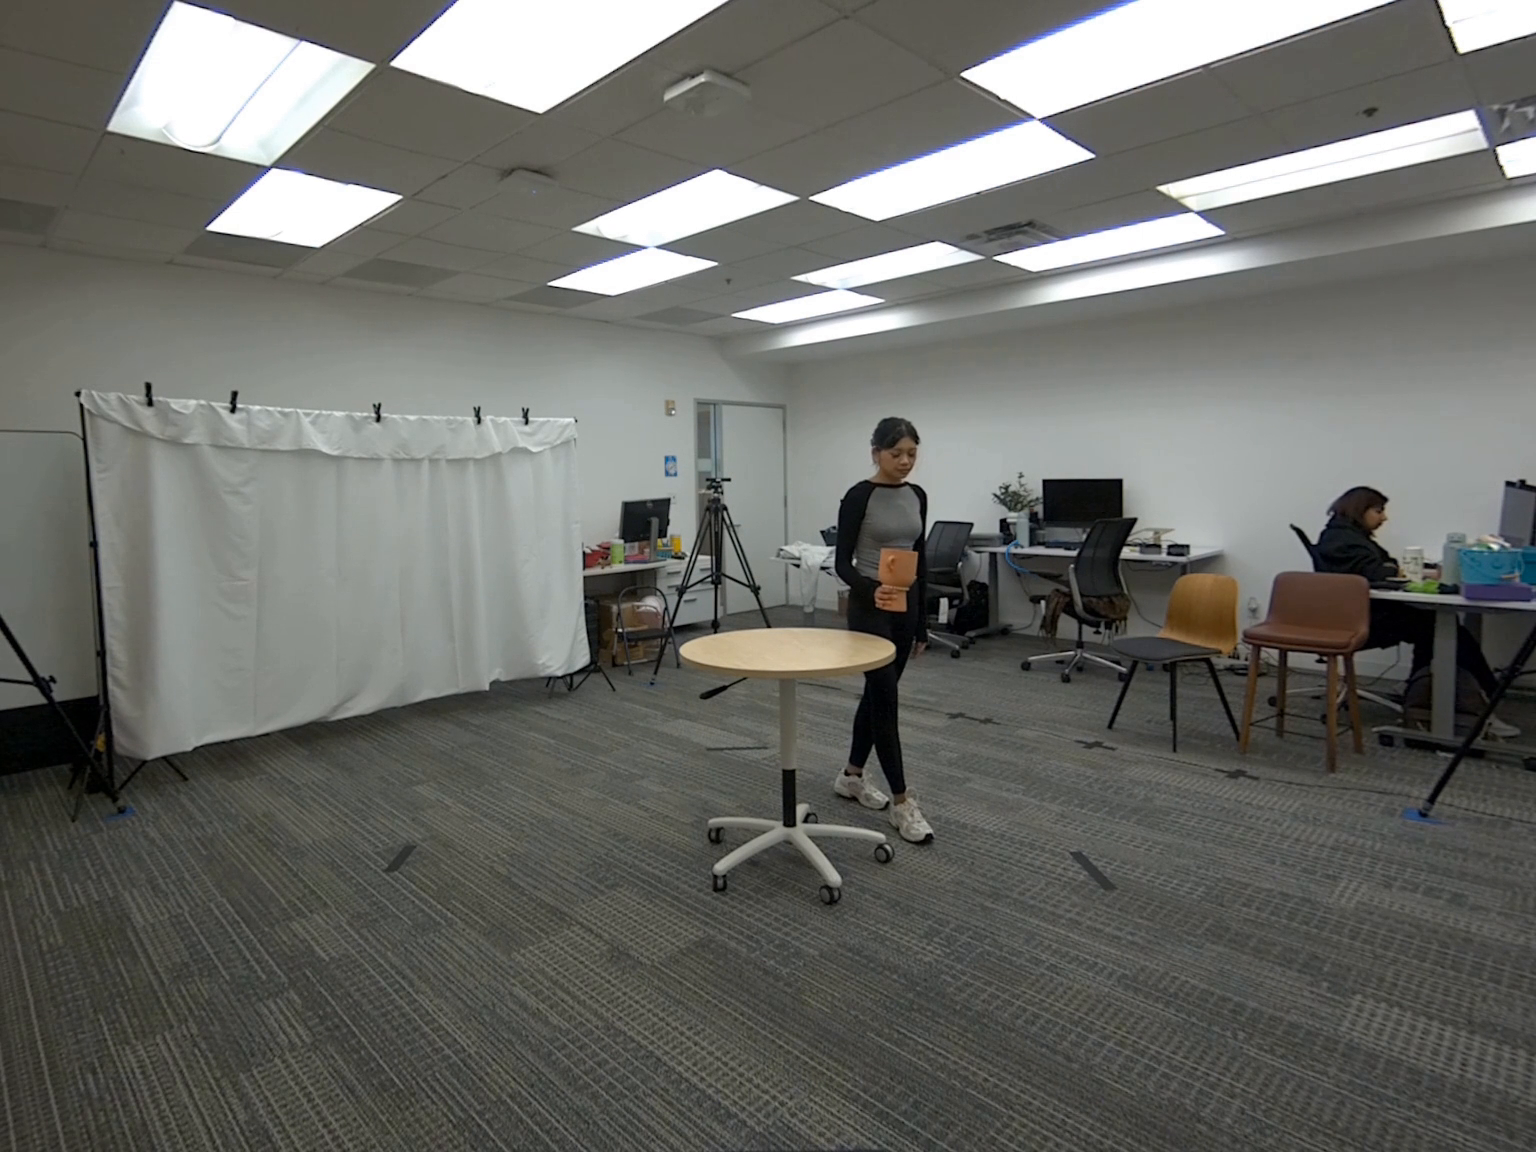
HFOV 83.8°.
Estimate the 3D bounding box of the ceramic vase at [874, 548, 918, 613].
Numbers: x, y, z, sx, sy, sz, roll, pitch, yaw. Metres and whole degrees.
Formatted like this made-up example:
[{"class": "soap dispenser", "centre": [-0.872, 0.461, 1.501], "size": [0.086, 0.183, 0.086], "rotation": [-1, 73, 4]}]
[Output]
[{"class": "ceramic vase", "centre": [0.467, 0.016, 3.139], "size": [0.156, 0.220, 0.137], "rotation": [7, 0, -19]}]
